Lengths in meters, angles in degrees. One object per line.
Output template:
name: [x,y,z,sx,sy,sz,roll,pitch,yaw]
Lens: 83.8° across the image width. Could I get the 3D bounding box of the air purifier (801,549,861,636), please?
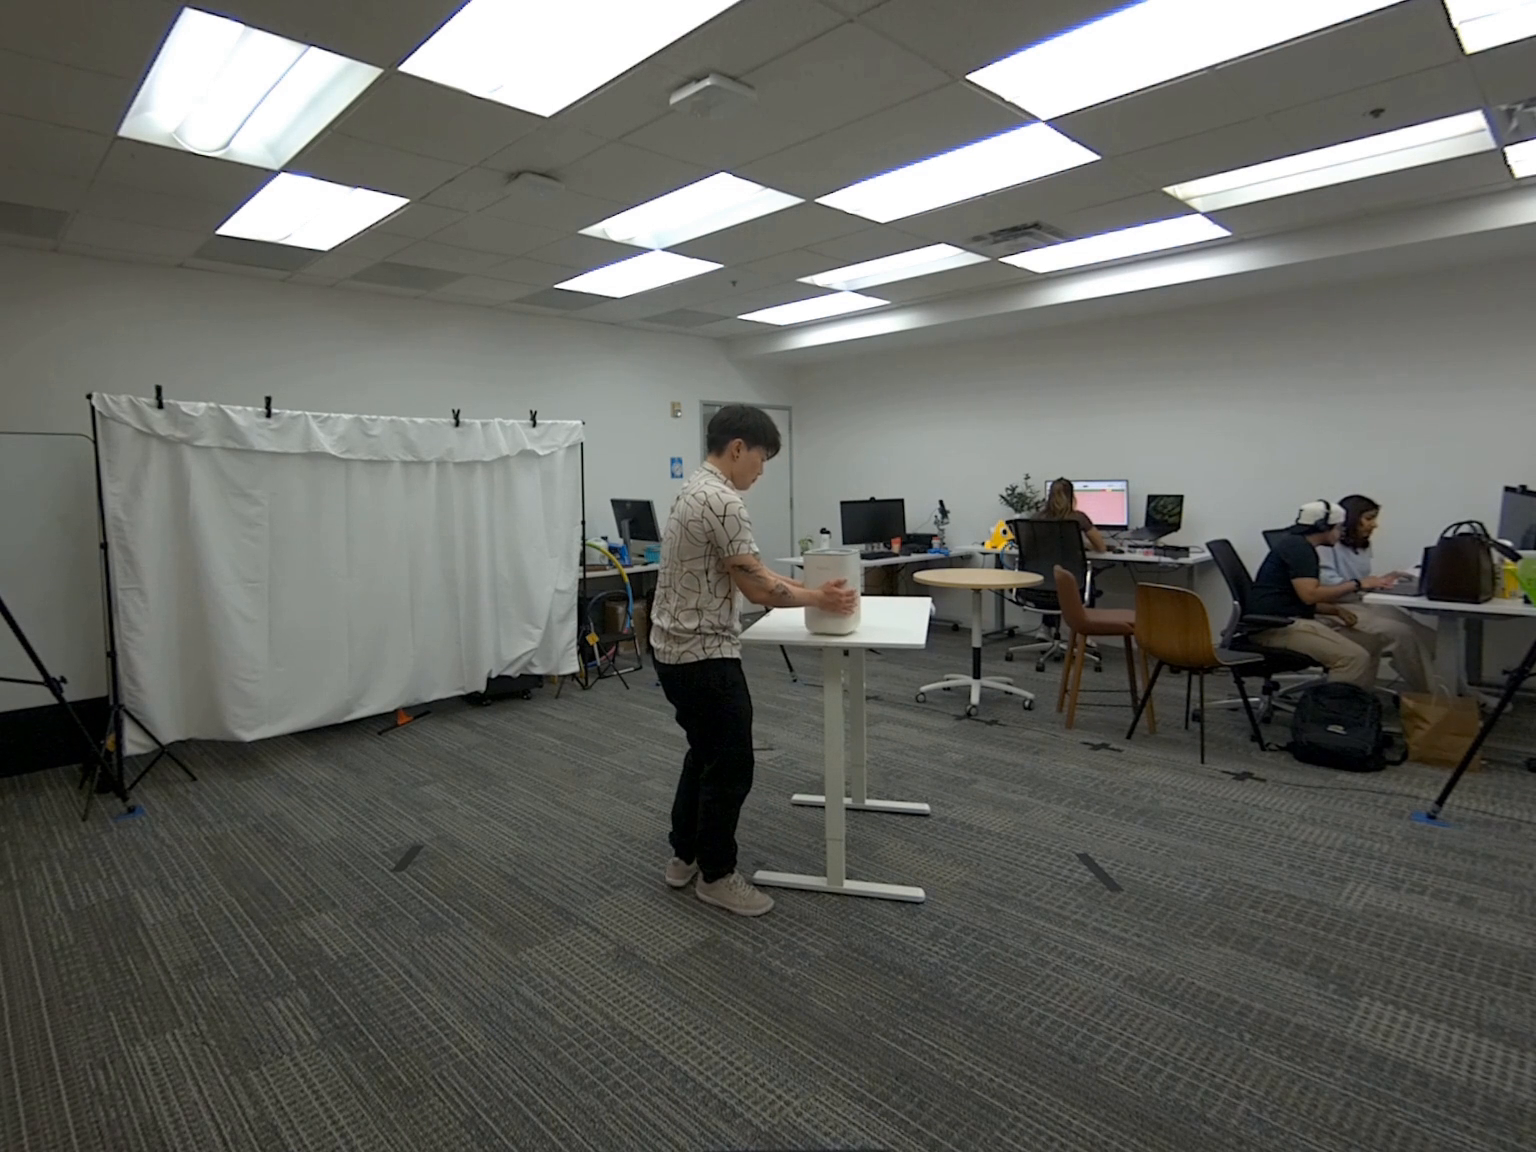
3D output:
air purifier: [0.215,0.049,2.850,0.174,0.265,0.169,-1,3,20]
